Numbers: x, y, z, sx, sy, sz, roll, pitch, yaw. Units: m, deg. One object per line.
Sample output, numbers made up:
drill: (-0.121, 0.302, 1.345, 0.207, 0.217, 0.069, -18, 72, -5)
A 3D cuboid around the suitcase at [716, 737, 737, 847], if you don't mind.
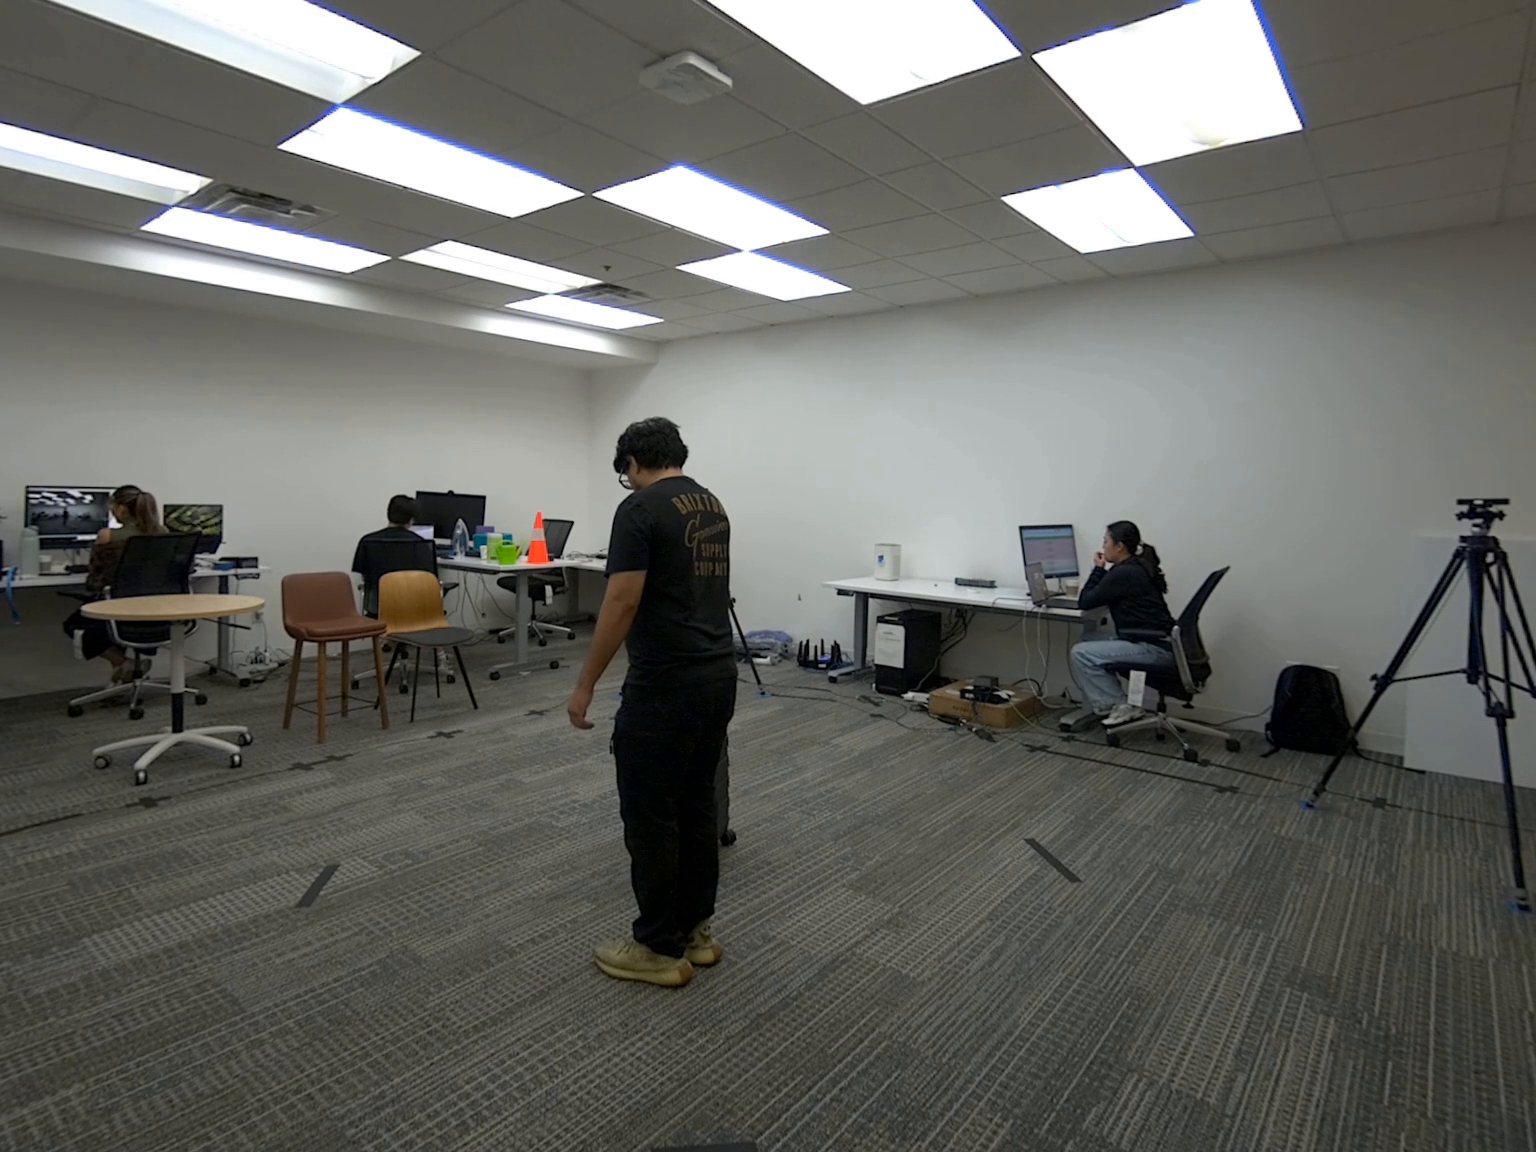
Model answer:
suitcase: (-0.332, 0.579, 3.227, 0.261, 0.977, 0.378, -3, 2, 17)
